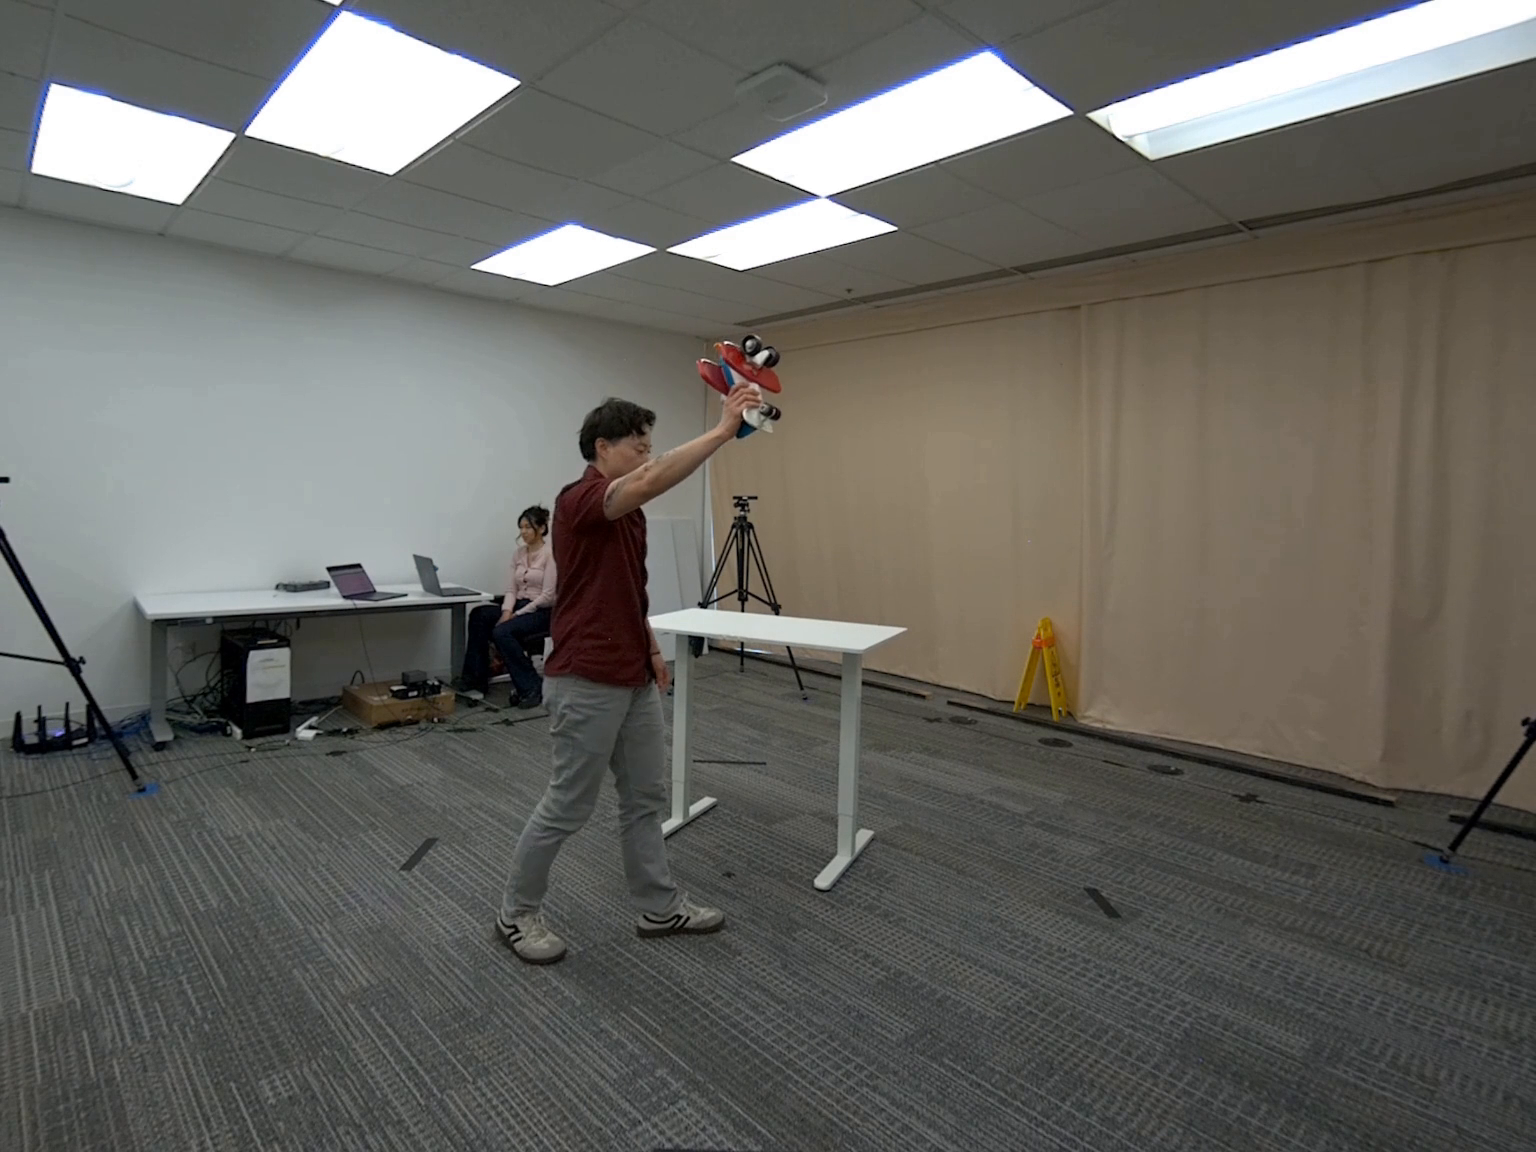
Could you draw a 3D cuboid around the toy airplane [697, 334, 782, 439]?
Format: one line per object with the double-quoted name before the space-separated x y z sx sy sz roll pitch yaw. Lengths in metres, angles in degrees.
"toy airplane" -0.065 -0.500 2.178 0.159 0.263 0.243 -14 -45 31
